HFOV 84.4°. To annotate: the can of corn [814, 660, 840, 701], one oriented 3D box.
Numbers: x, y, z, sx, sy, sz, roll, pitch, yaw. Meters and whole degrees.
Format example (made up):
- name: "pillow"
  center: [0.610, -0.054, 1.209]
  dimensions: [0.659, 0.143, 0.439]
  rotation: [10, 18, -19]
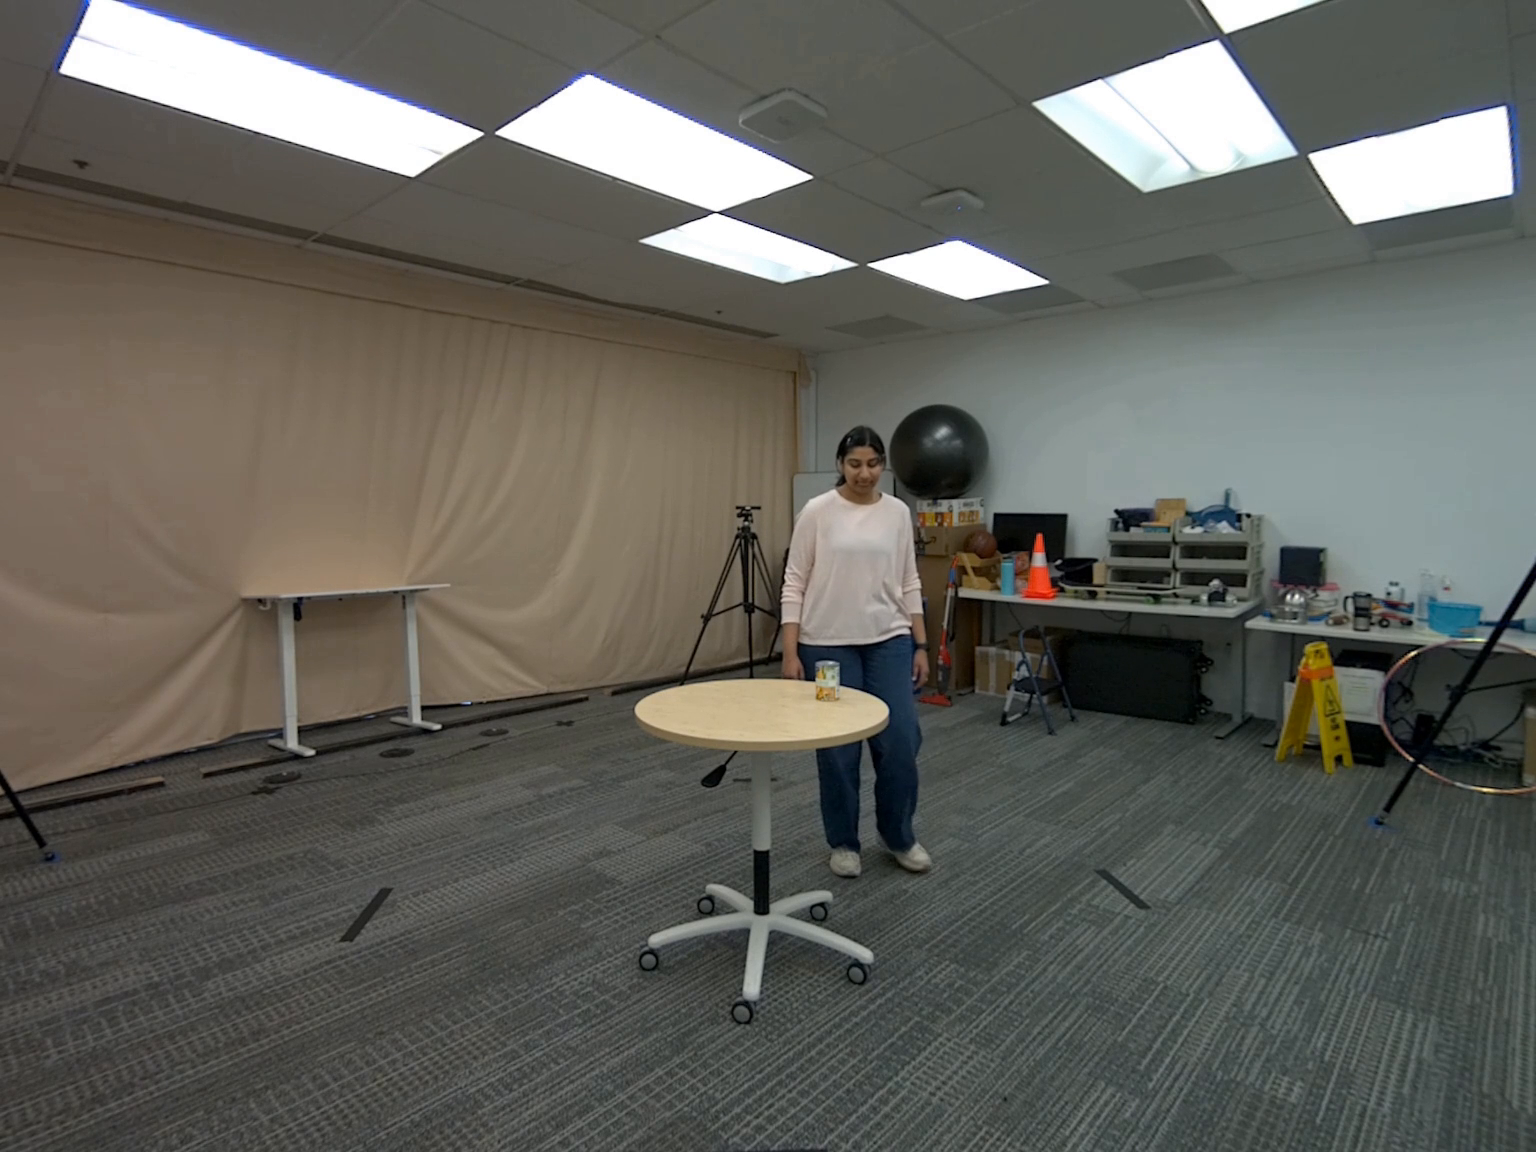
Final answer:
- name: "can of corn"
  center: [0.188, 0.328, 2.646]
  dimensions: [0.074, 0.111, 0.074]
  rotation: [3, 2, -2]
